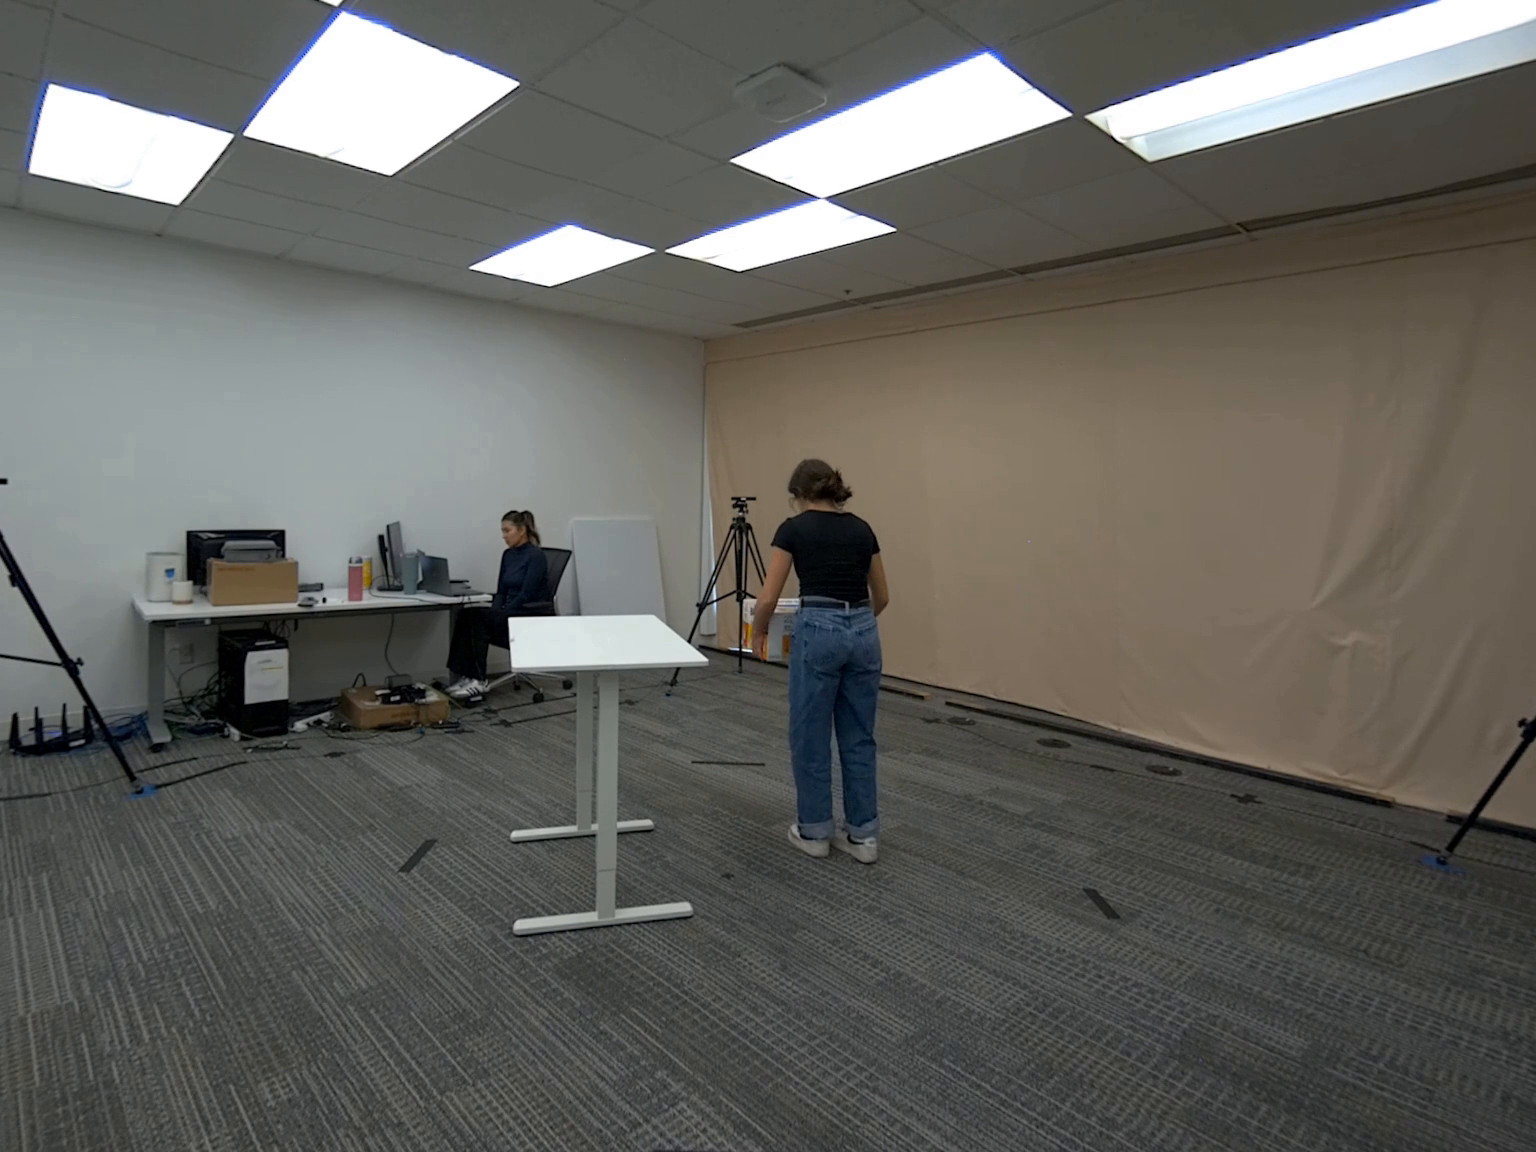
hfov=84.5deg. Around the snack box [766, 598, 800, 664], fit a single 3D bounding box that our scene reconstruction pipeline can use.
[{"bbox_3d":[0.132,0.228,3.608,0.399,0.205,0.347,0,7,-19],"label":"snack box"}]
